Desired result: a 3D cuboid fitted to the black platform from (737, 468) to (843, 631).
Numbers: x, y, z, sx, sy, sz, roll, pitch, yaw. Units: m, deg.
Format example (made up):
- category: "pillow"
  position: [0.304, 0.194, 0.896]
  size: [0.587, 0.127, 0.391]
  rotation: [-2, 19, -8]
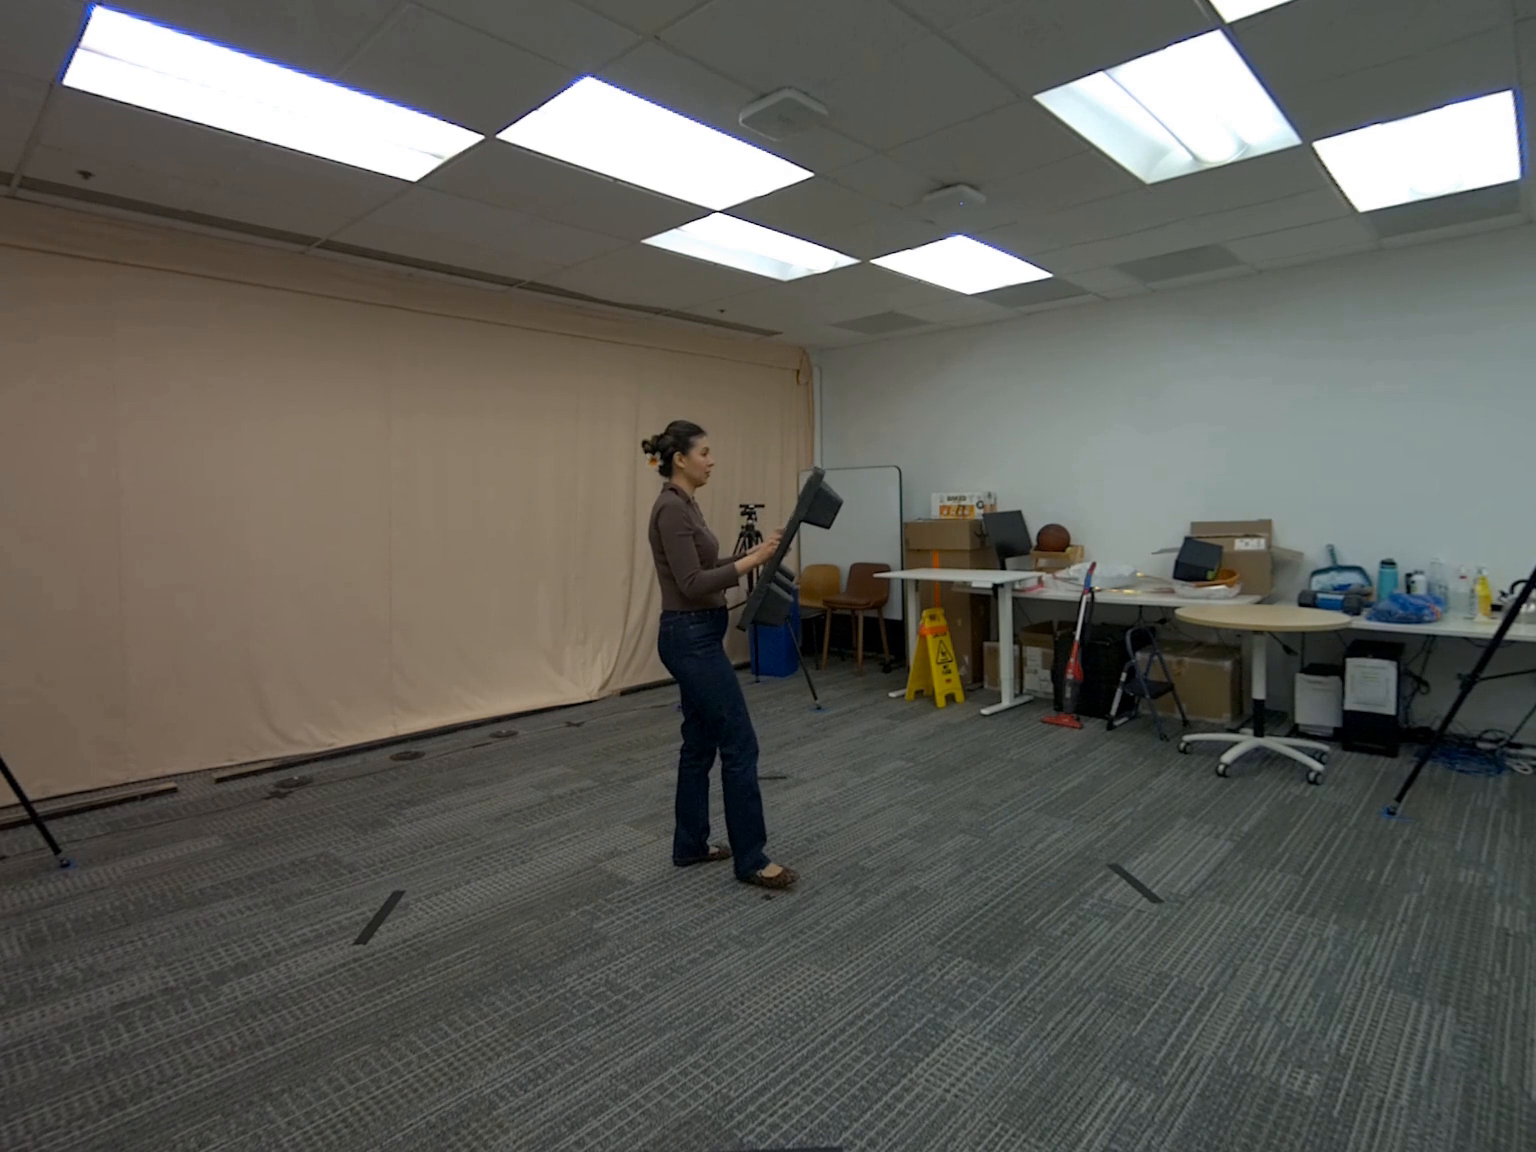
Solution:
- category: "black platform"
  position: [0.109, -0.110, 3.148]
  size: [0.143, 0.605, 0.805]
  rotation: [27, 7, -2]
